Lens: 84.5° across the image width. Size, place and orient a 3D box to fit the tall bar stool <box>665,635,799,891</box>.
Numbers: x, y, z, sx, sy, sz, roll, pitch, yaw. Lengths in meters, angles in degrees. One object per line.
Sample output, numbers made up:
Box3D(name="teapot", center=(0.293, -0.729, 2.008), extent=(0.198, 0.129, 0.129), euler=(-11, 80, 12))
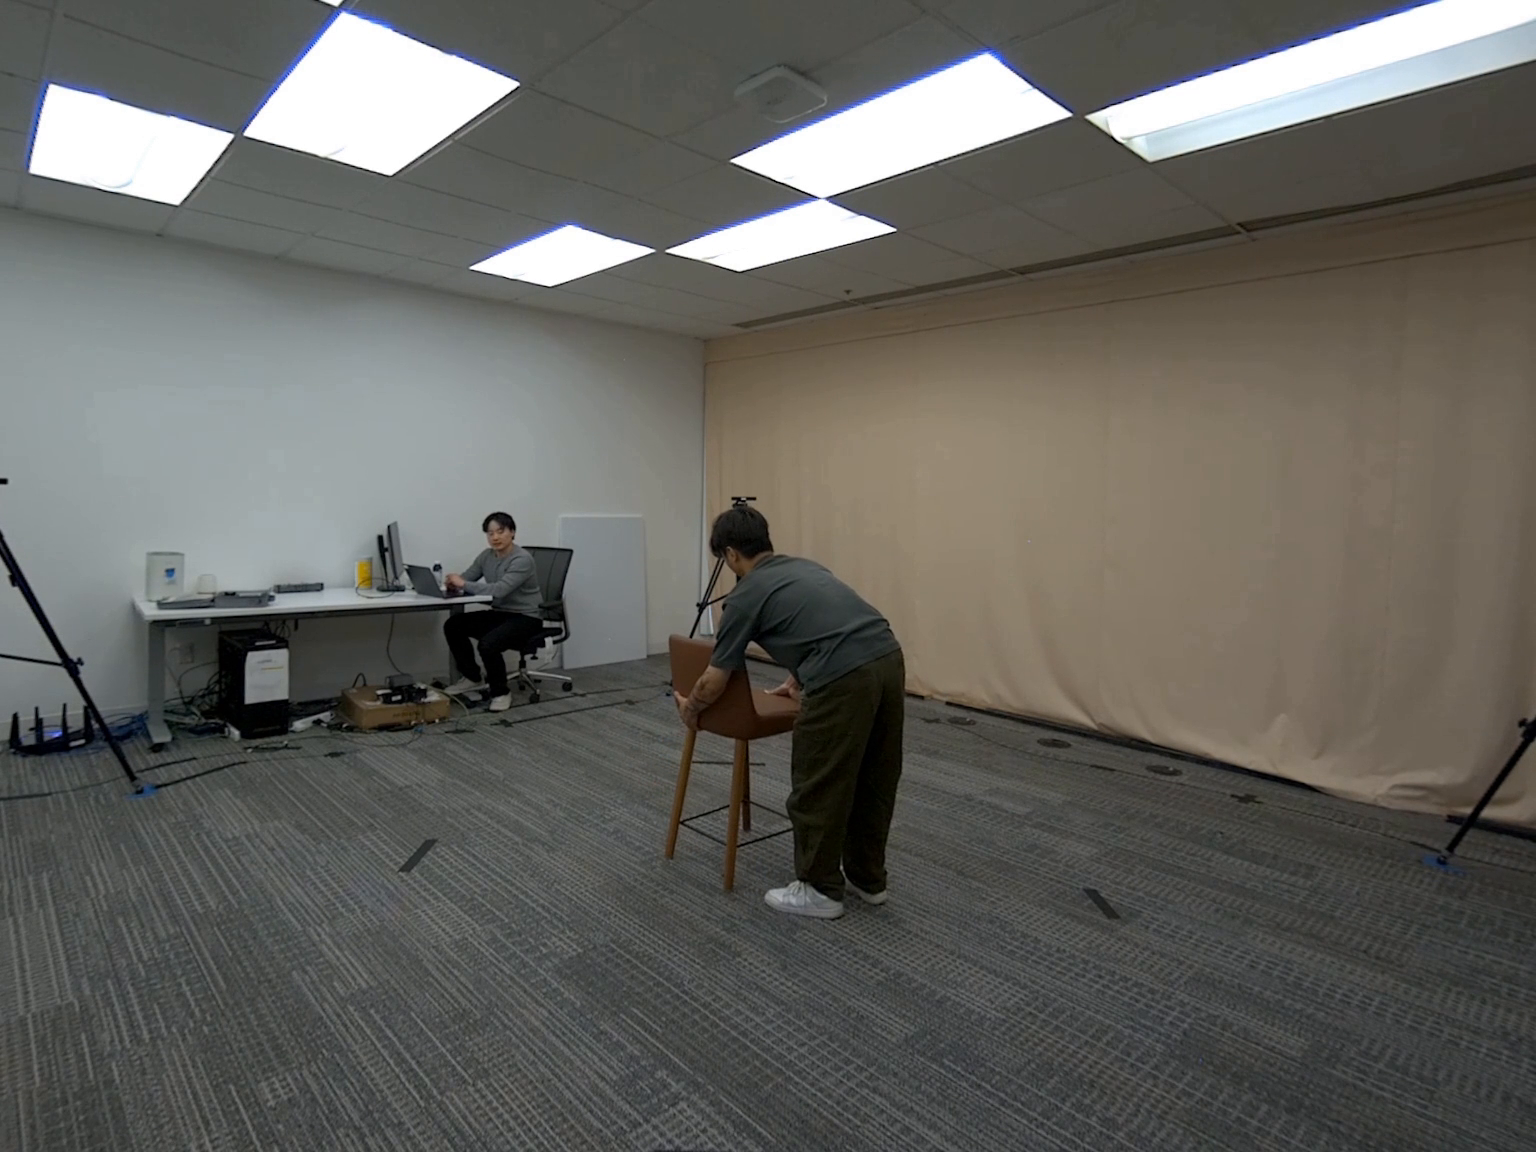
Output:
Box3D(name="tall bar stool", center=(-0.111, 0.657, 3.234), extent=(0.457, 0.888, 0.468), euler=(-2, 4, -42))
